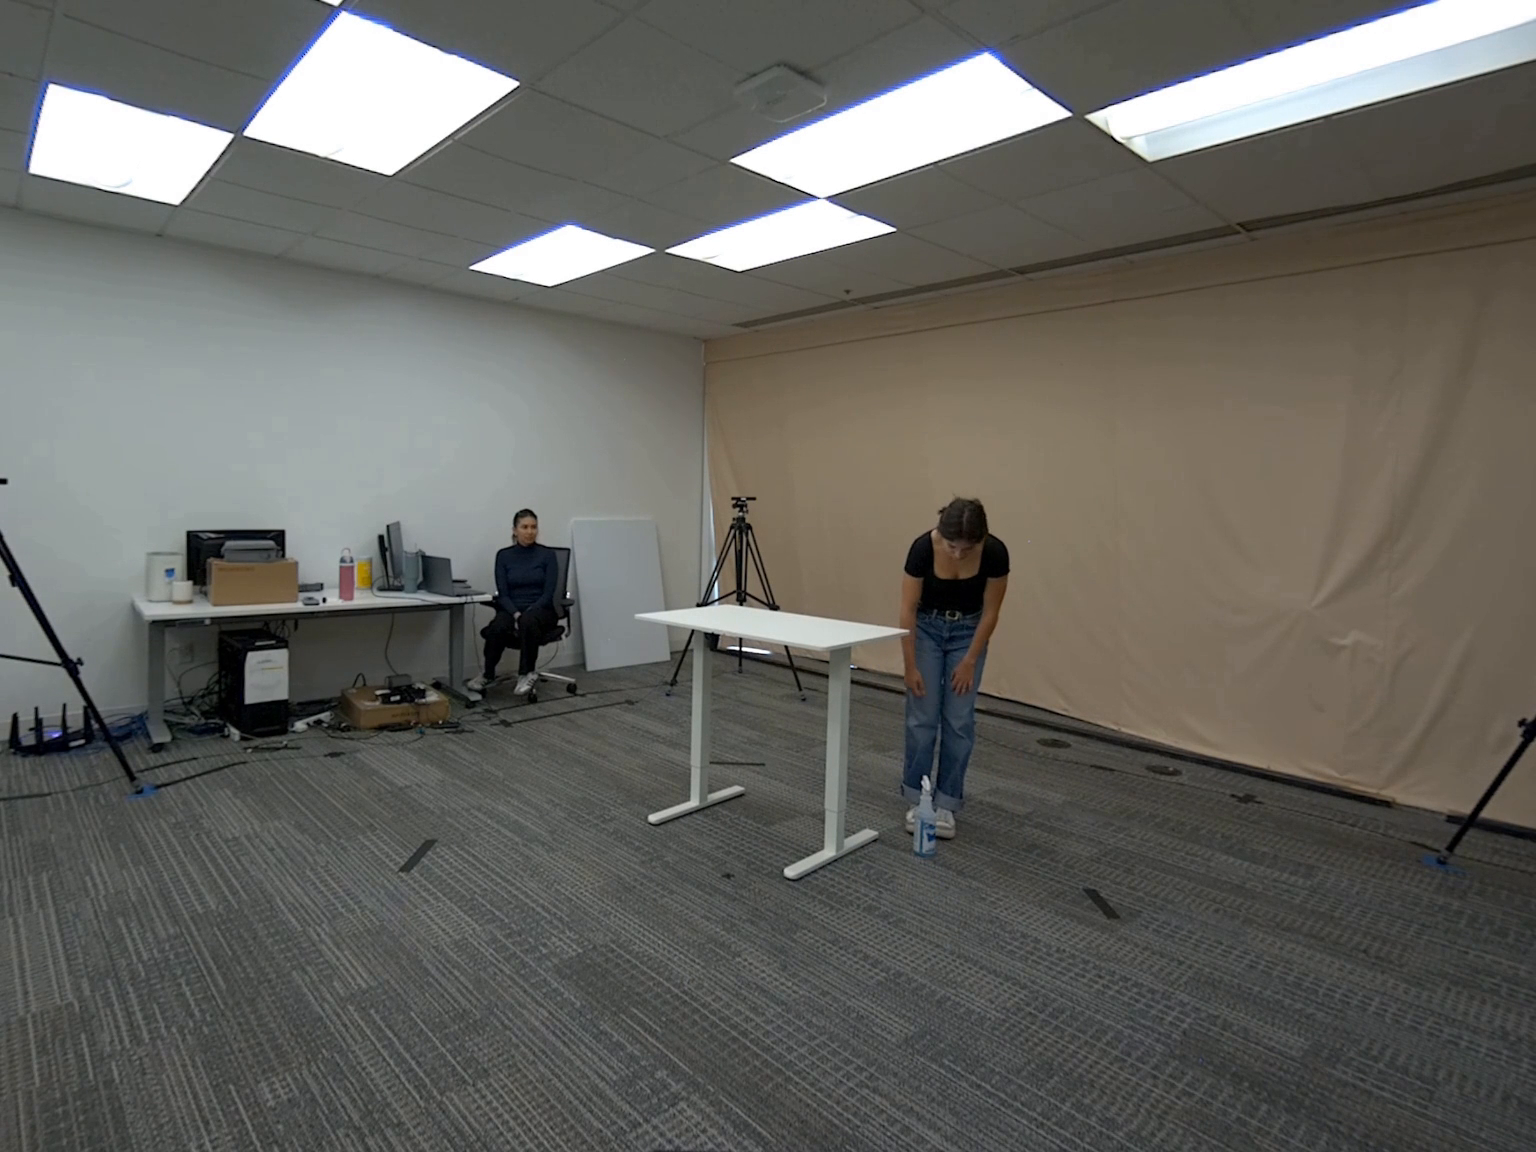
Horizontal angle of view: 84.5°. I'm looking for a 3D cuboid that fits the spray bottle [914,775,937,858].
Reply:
[{"bbox_3d":[0.619,0.961,3.353,0.089,0.297,0.088,1,2,25],"label":"spray bottle"}]
